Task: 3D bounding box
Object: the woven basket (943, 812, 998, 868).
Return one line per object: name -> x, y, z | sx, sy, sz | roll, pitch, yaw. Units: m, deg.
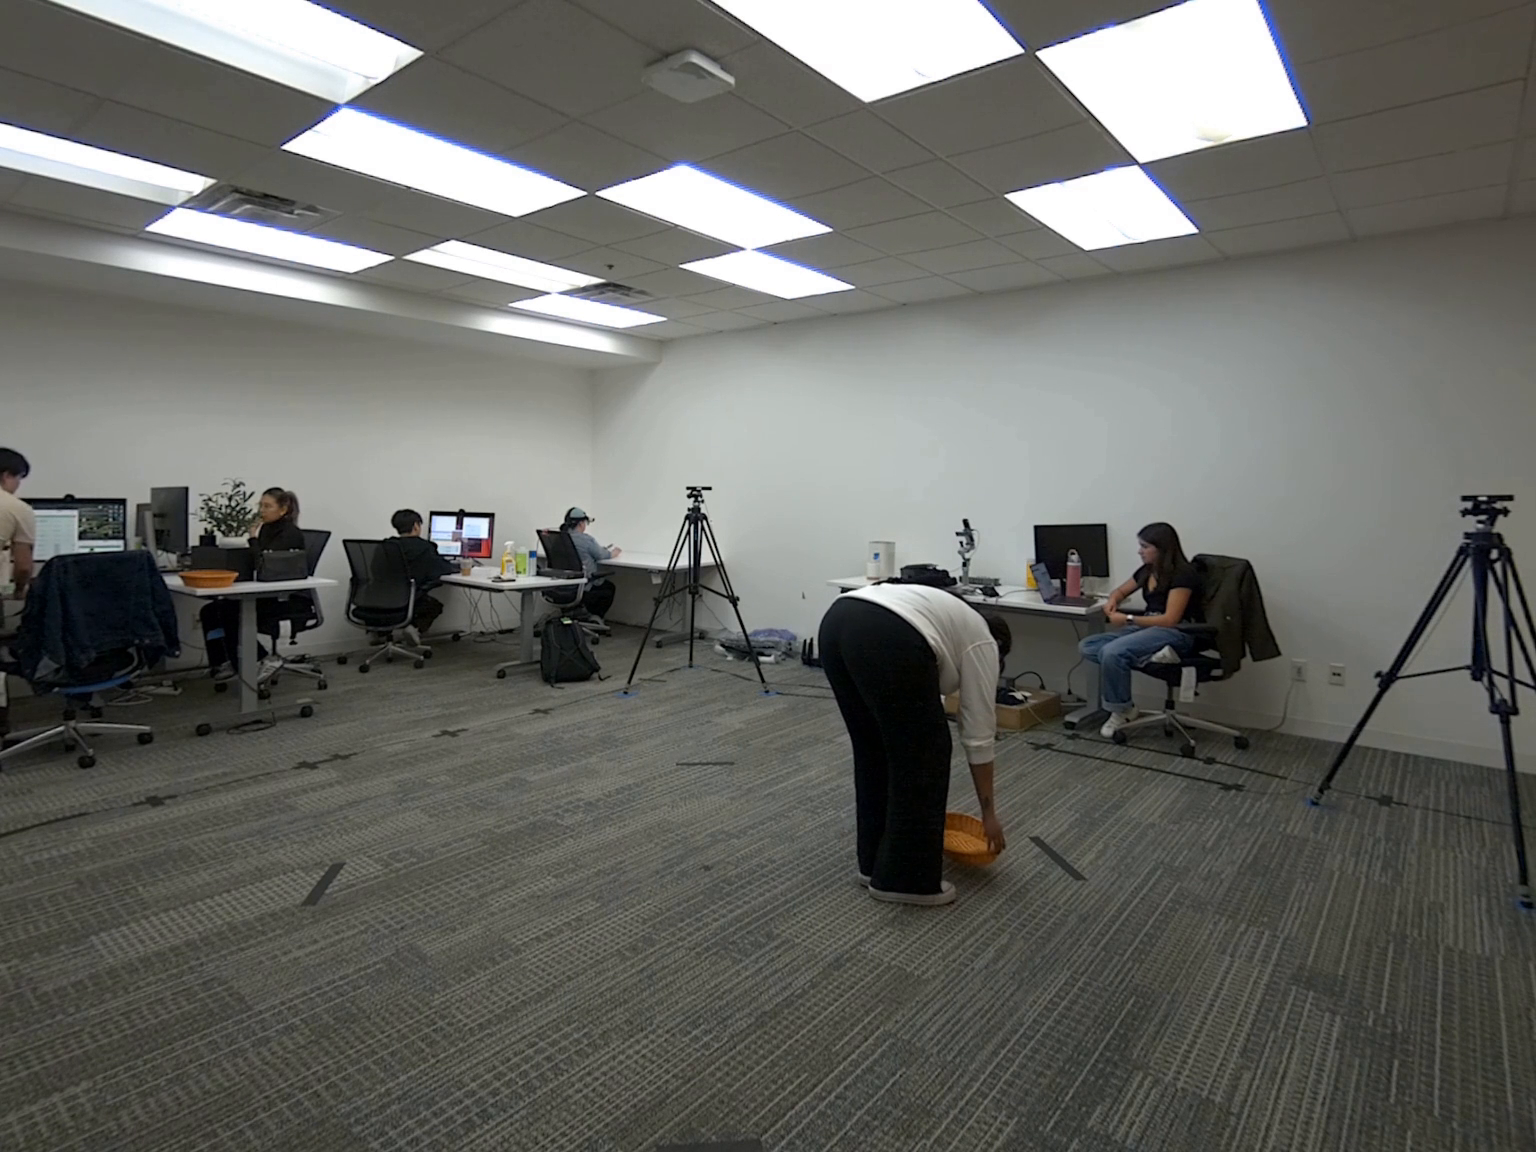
woven basket -> 0.715, 0.982, 3.174 | 0.246, 0.073, 0.362 | -11, 12, -32
